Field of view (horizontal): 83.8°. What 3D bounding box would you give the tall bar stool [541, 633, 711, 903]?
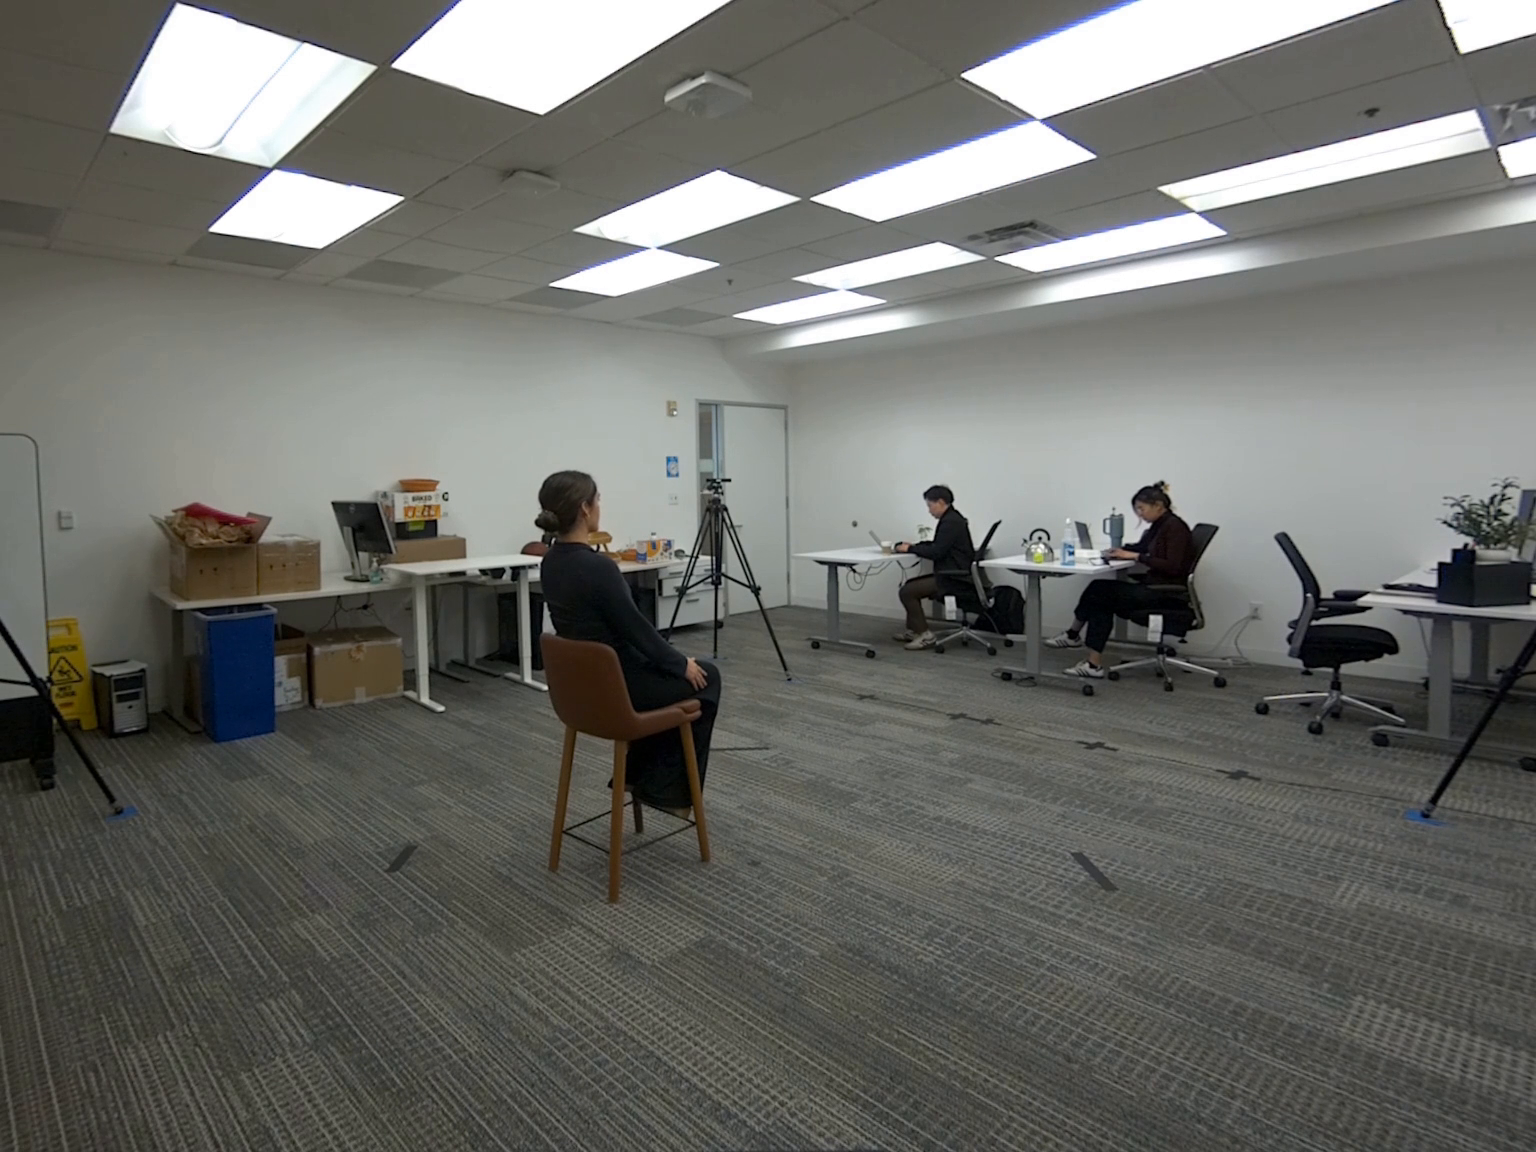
[{"bbox_3d":[-0.528,0.620,3.081,0.470,0.885,0.456,2,8,43],"label":"tall bar stool"}]
